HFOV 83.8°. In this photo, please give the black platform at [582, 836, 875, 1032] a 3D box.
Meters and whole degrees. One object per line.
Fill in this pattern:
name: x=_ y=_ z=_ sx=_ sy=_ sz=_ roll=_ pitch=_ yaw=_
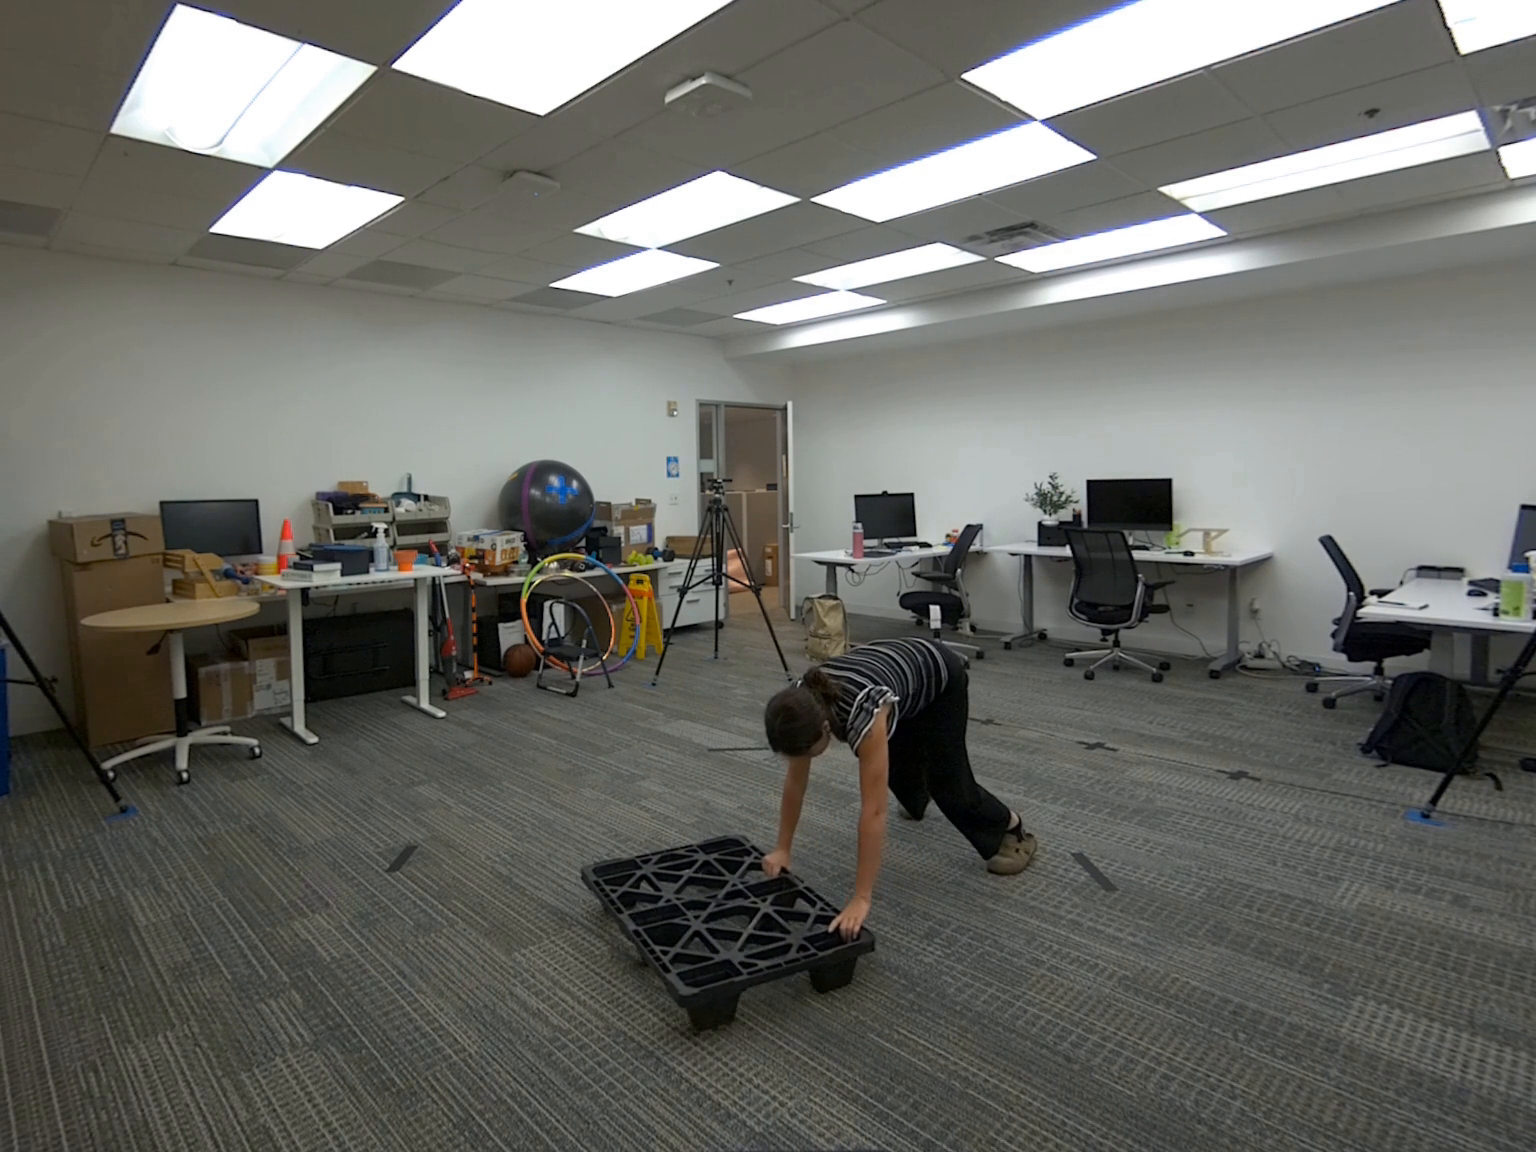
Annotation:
black platform: x=-0.156 y=1.039 z=2.568 sx=0.591 sy=0.143 sz=0.828 roll=-4 pitch=7 yaw=-29
